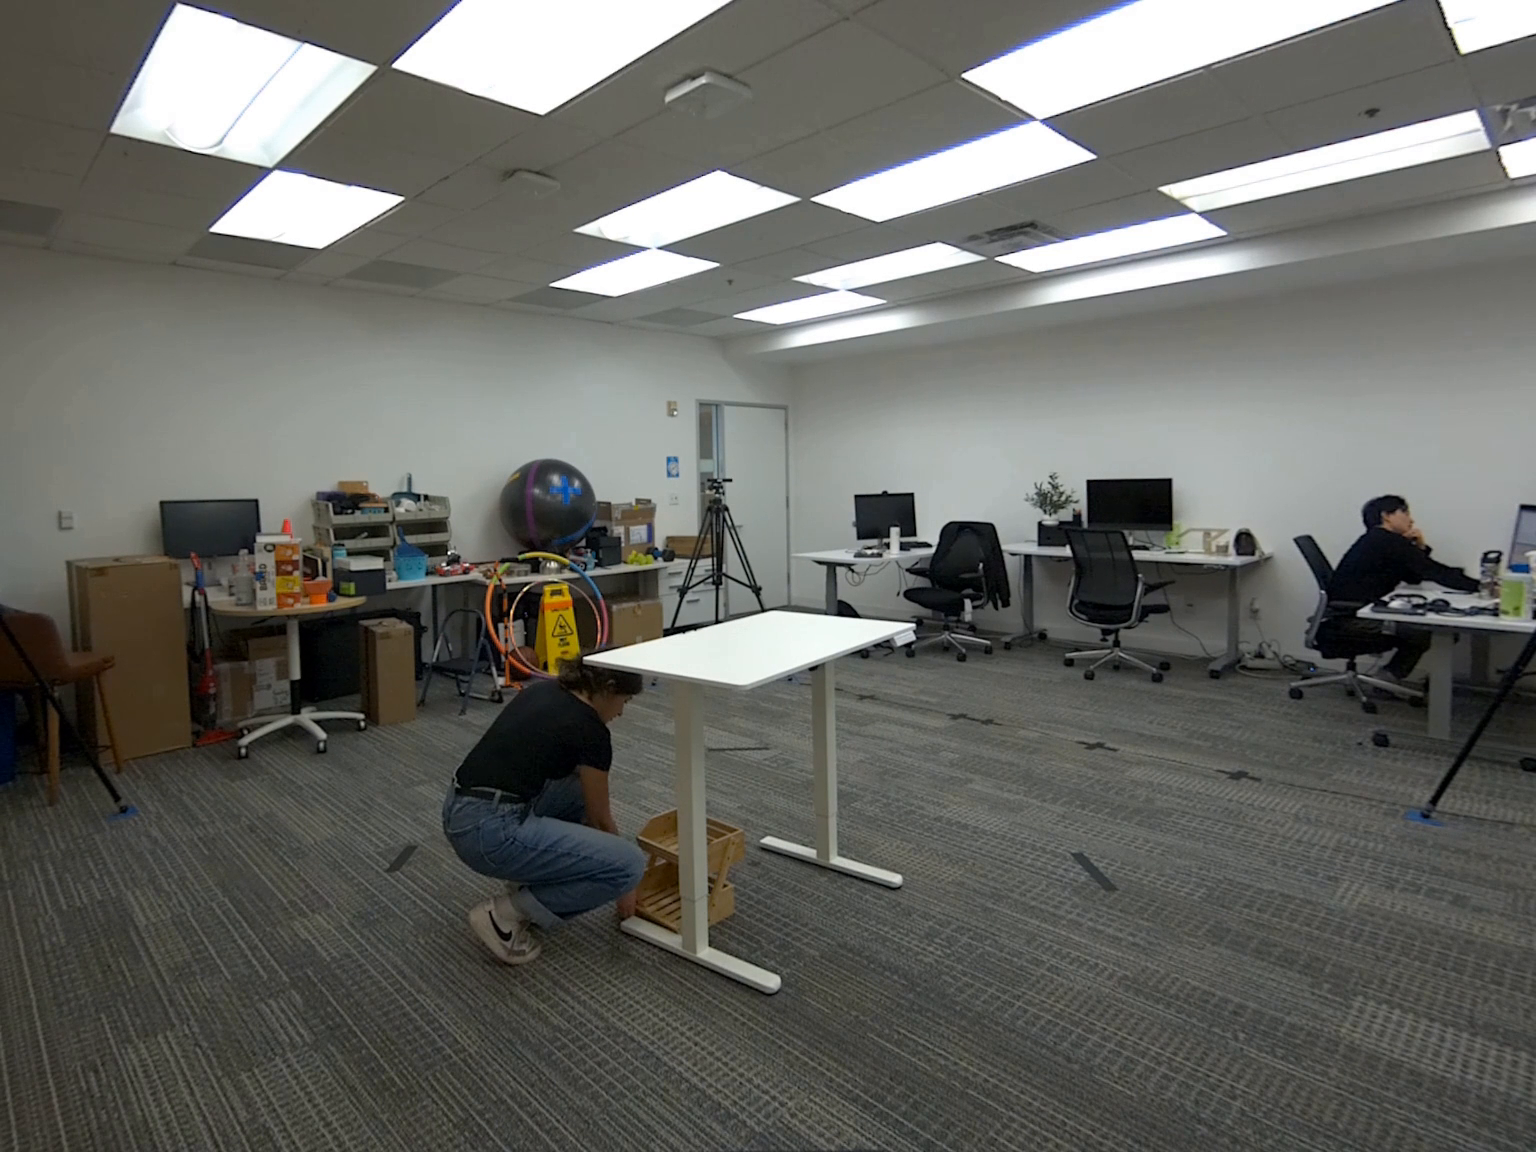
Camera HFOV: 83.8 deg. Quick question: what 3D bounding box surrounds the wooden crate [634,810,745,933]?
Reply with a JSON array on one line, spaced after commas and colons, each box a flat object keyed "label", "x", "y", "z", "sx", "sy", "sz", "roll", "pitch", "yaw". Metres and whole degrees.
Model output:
[{"label": "wooden crate", "x": -0.286, "y": 0.952, "z": 2.778, "sx": 0.334, "sy": 0.272, "sz": 0.294, "roll": 4, "pitch": 7, "yaw": 42}]
